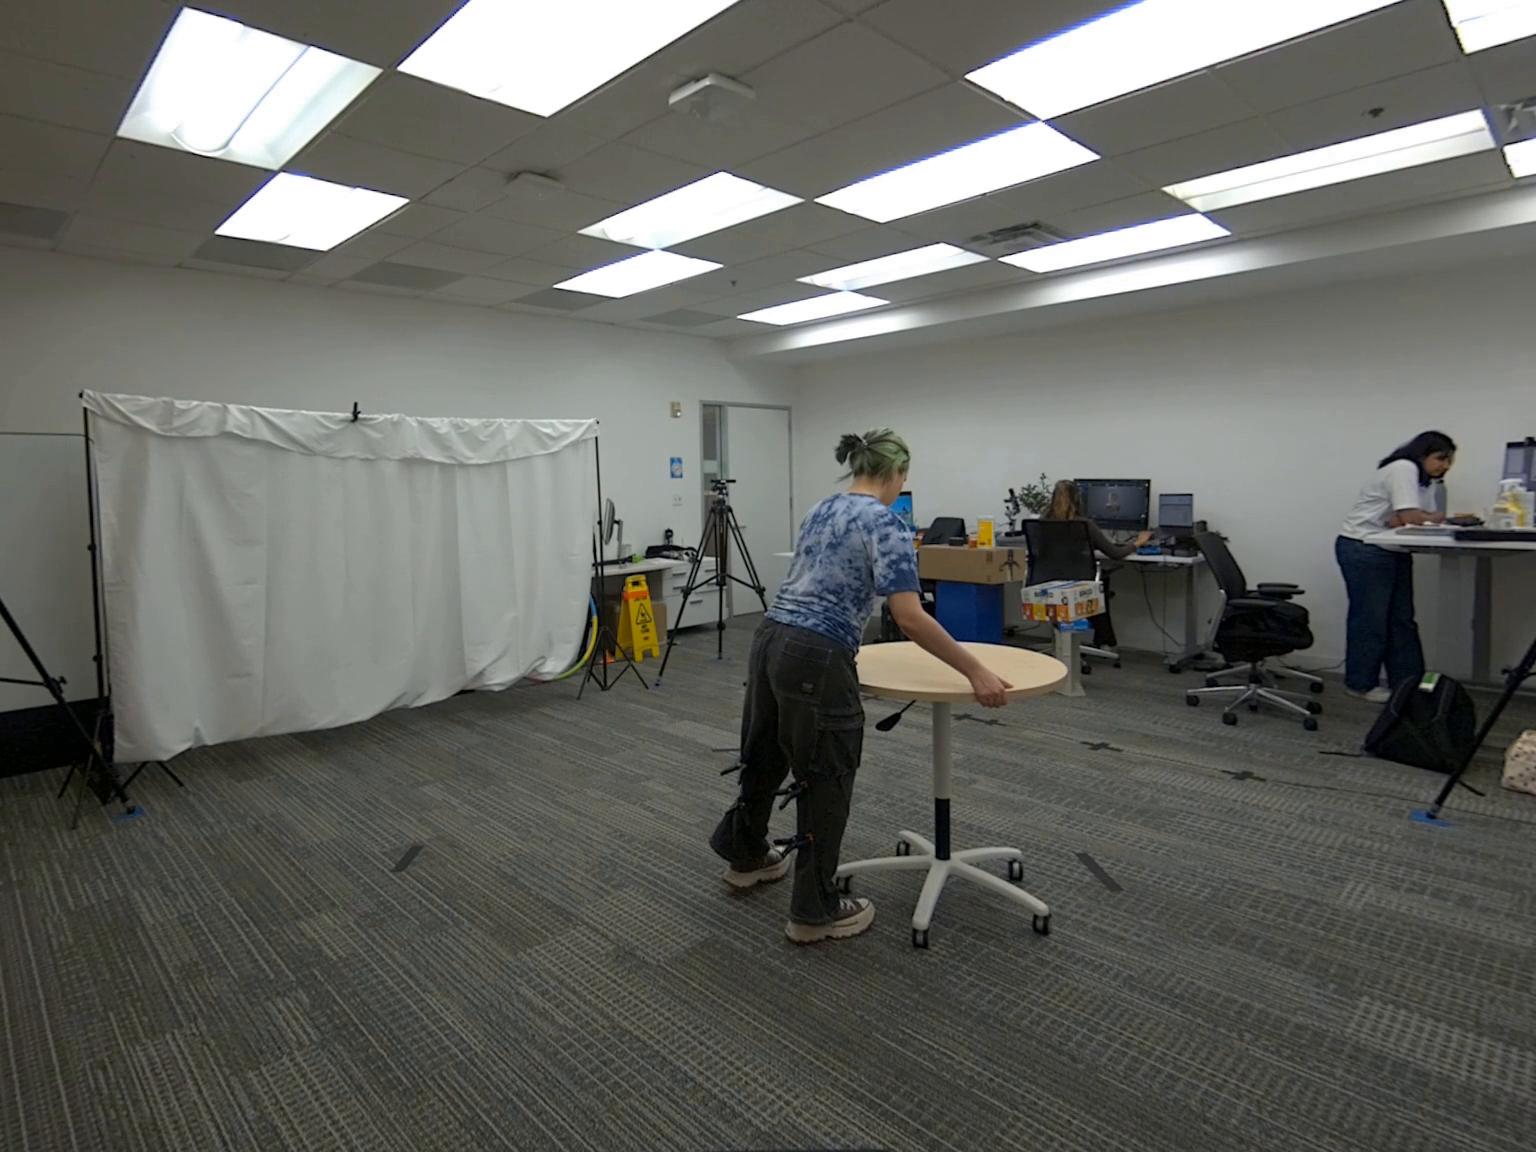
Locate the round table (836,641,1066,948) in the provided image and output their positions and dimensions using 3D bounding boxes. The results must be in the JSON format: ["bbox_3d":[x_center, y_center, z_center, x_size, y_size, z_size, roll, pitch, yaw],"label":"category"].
[{"bbox_3d":[0.572,0.679,2.804,0.763,0.791,0.768,-1,5,-2],"label":"round table"}]
